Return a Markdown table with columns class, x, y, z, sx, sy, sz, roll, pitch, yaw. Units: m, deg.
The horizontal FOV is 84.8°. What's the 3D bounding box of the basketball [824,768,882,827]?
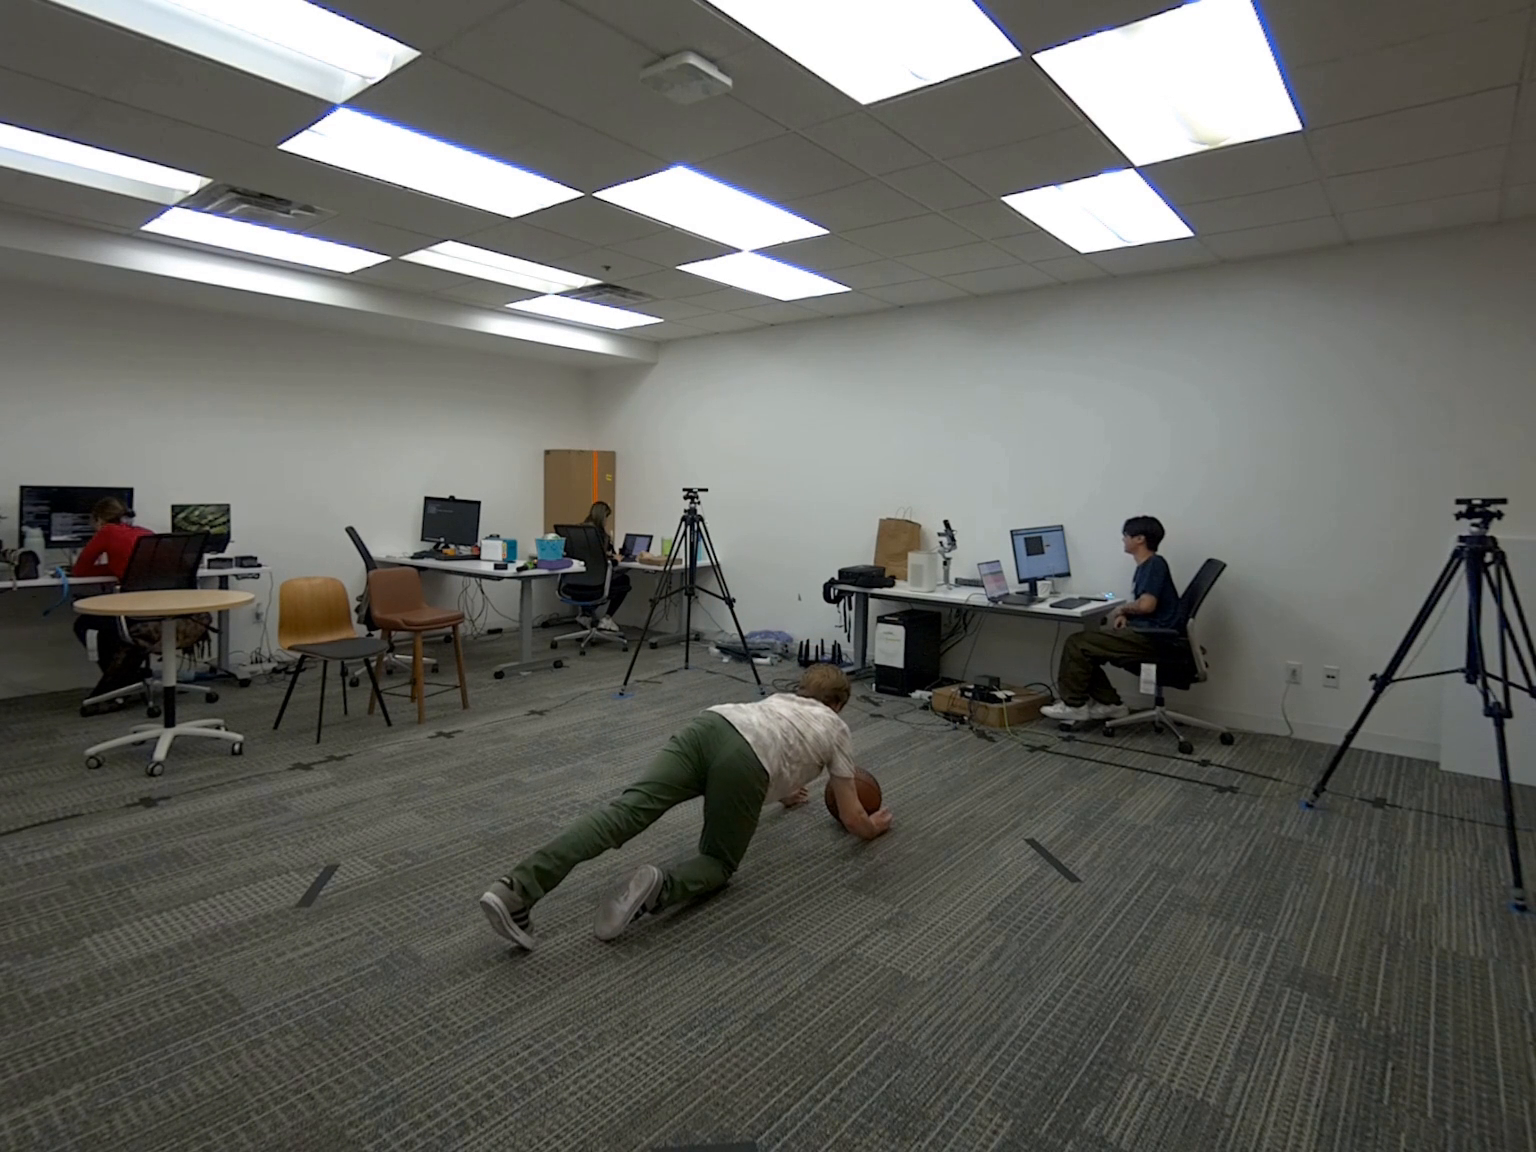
| class | x | y | z | sx | sy | sz | roll | pitch | yaw |
| --- | --- | --- | --- | --- | --- | --- | --- | --- | --- |
| basketball | 0.353 | 0.911 | 3.566 | 0.235 | 0.235 | 0.237 | 1 | 4 | -2 |
